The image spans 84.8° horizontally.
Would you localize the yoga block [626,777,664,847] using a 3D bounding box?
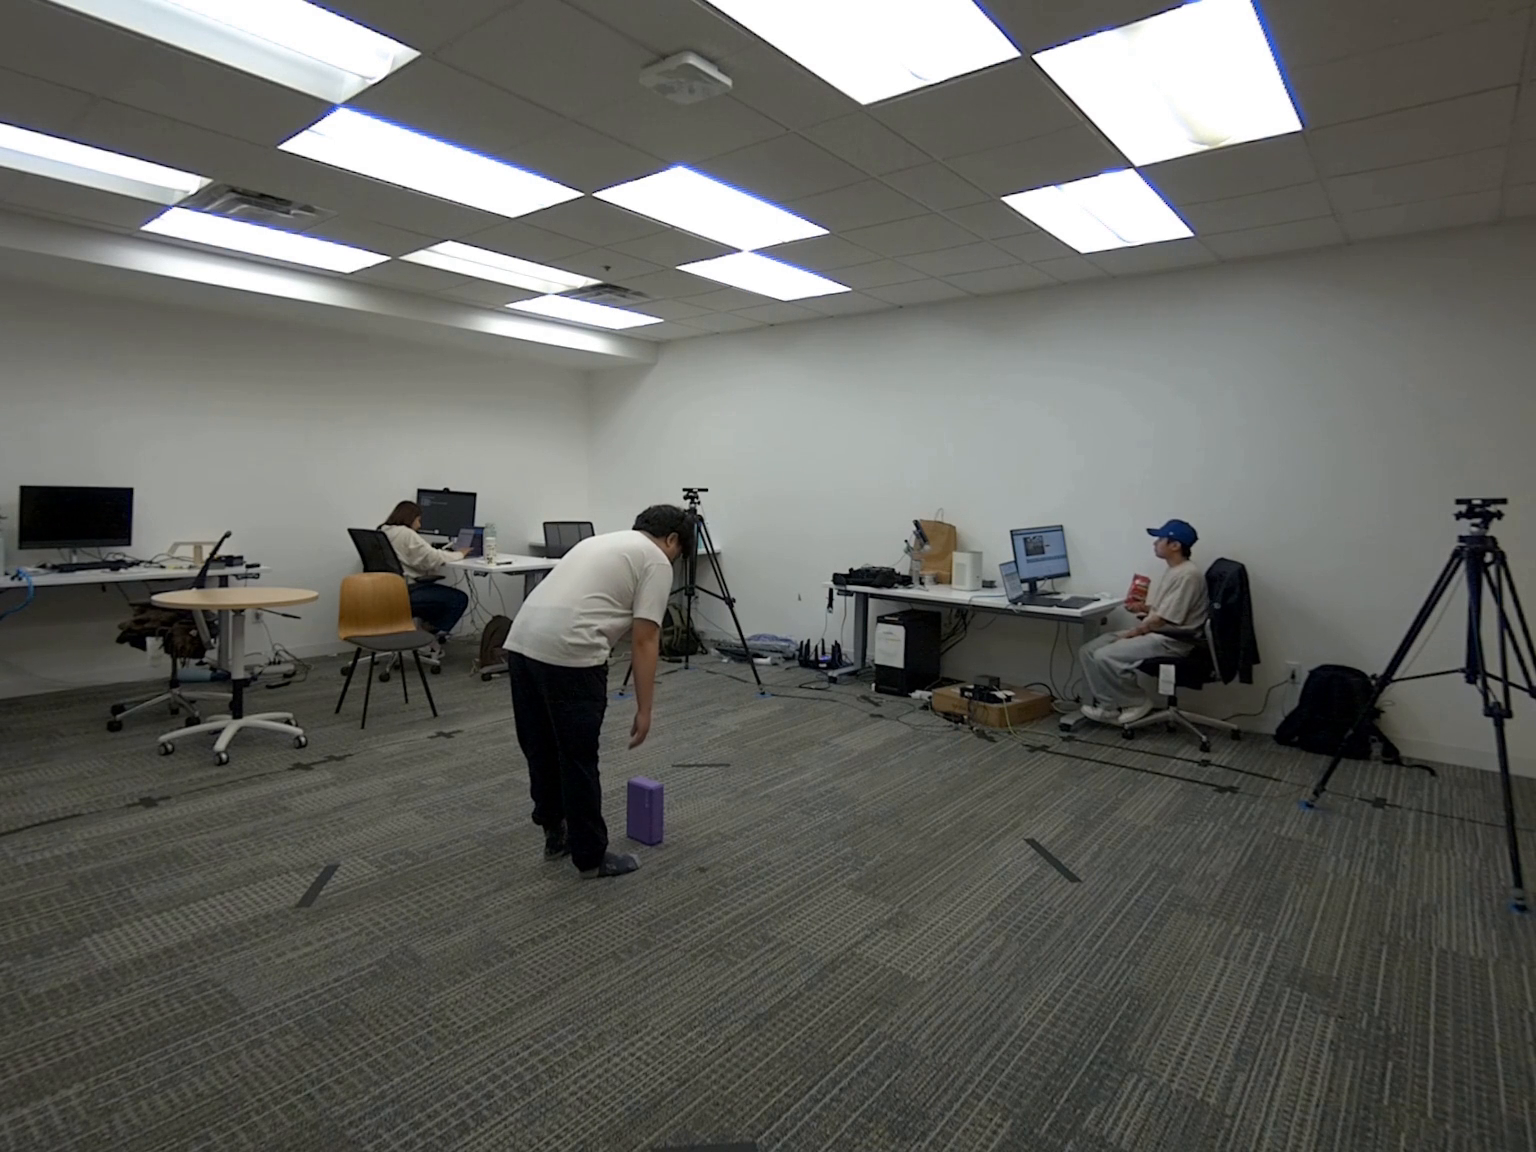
[{"bbox_3d":[-0.500,0.925,3.369,0.154,0.229,0.074,2,3,40],"label":"yoga block"}]
